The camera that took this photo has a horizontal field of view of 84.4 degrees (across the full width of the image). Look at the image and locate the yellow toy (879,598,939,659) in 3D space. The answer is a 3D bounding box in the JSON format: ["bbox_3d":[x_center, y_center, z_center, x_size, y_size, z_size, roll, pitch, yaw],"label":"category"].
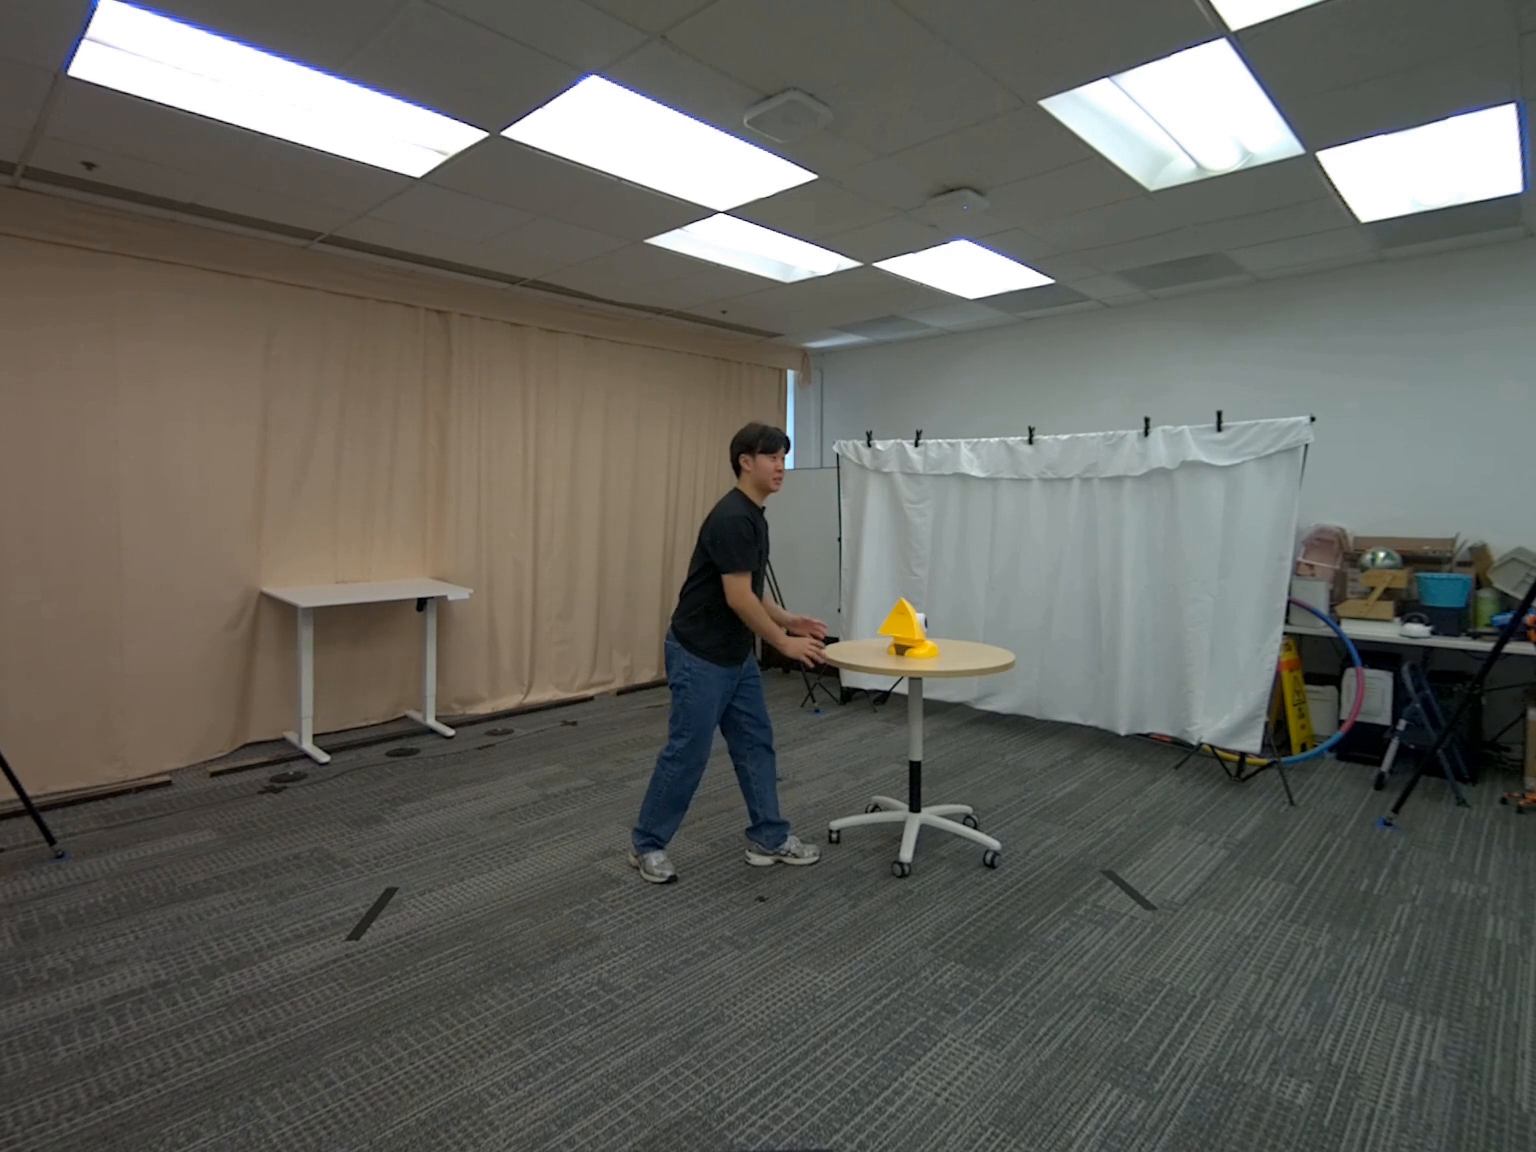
[{"bbox_3d":[0.583,0.201,3.388,0.187,0.230,0.211,-3,4,-39],"label":"yellow toy"}]
